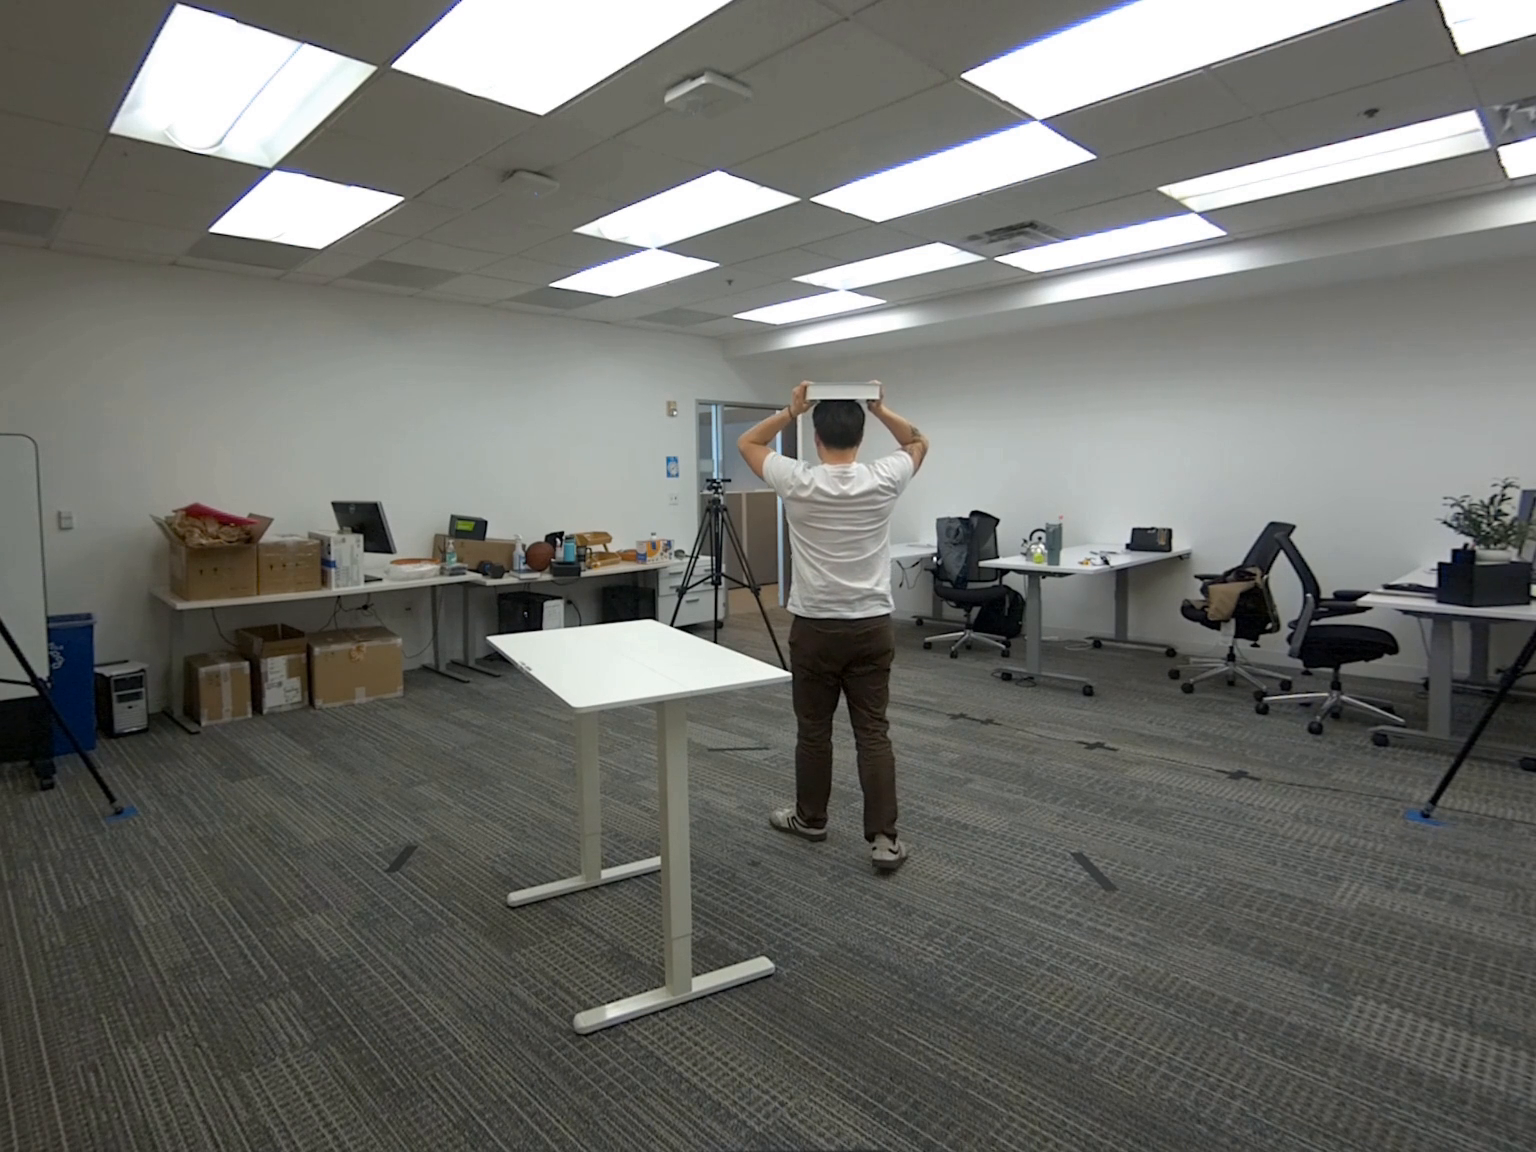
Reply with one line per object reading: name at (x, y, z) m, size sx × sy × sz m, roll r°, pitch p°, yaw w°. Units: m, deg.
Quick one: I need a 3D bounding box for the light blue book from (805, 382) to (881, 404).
light blue book at (0.264, -0.671, 3.132) m, size 0.259 × 0.059 × 0.193 m, roll -1°, pitch 6°, yaw -6°
